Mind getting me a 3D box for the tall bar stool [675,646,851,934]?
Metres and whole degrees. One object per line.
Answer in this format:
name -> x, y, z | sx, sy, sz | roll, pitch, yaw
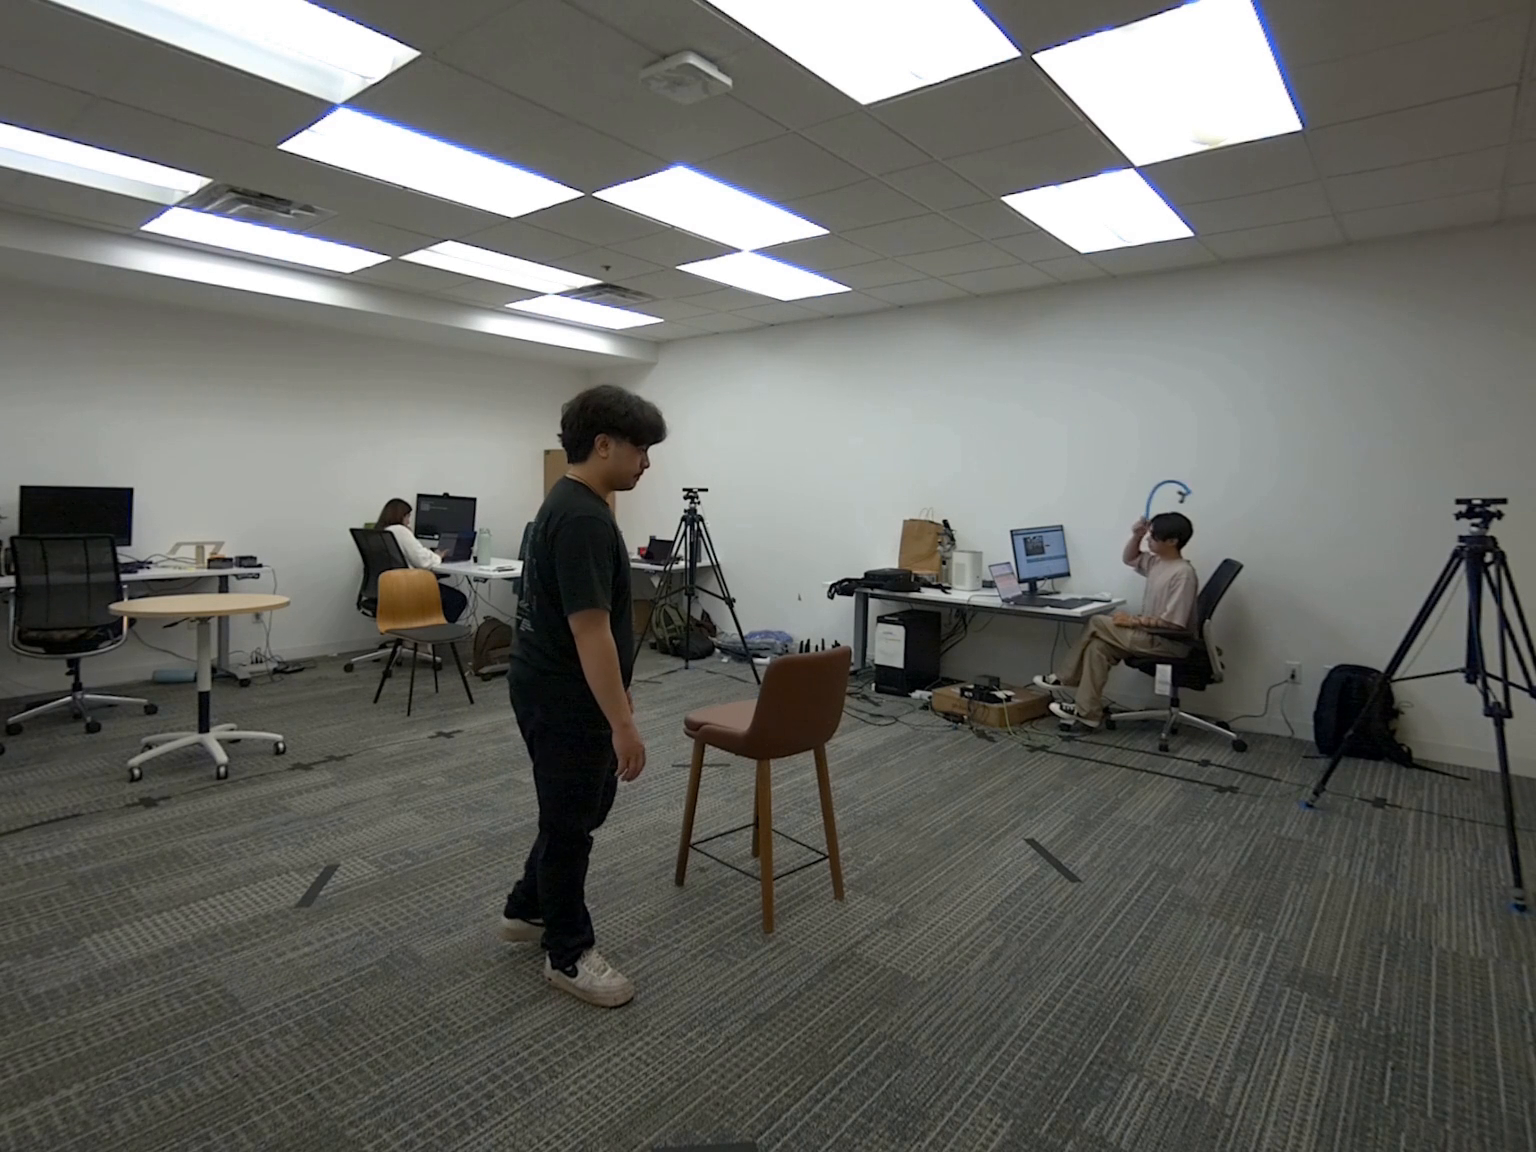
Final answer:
tall bar stool -> -0.018, 0.657, 2.927 | 0.442, 0.887, 0.484 | -1, 6, -44
